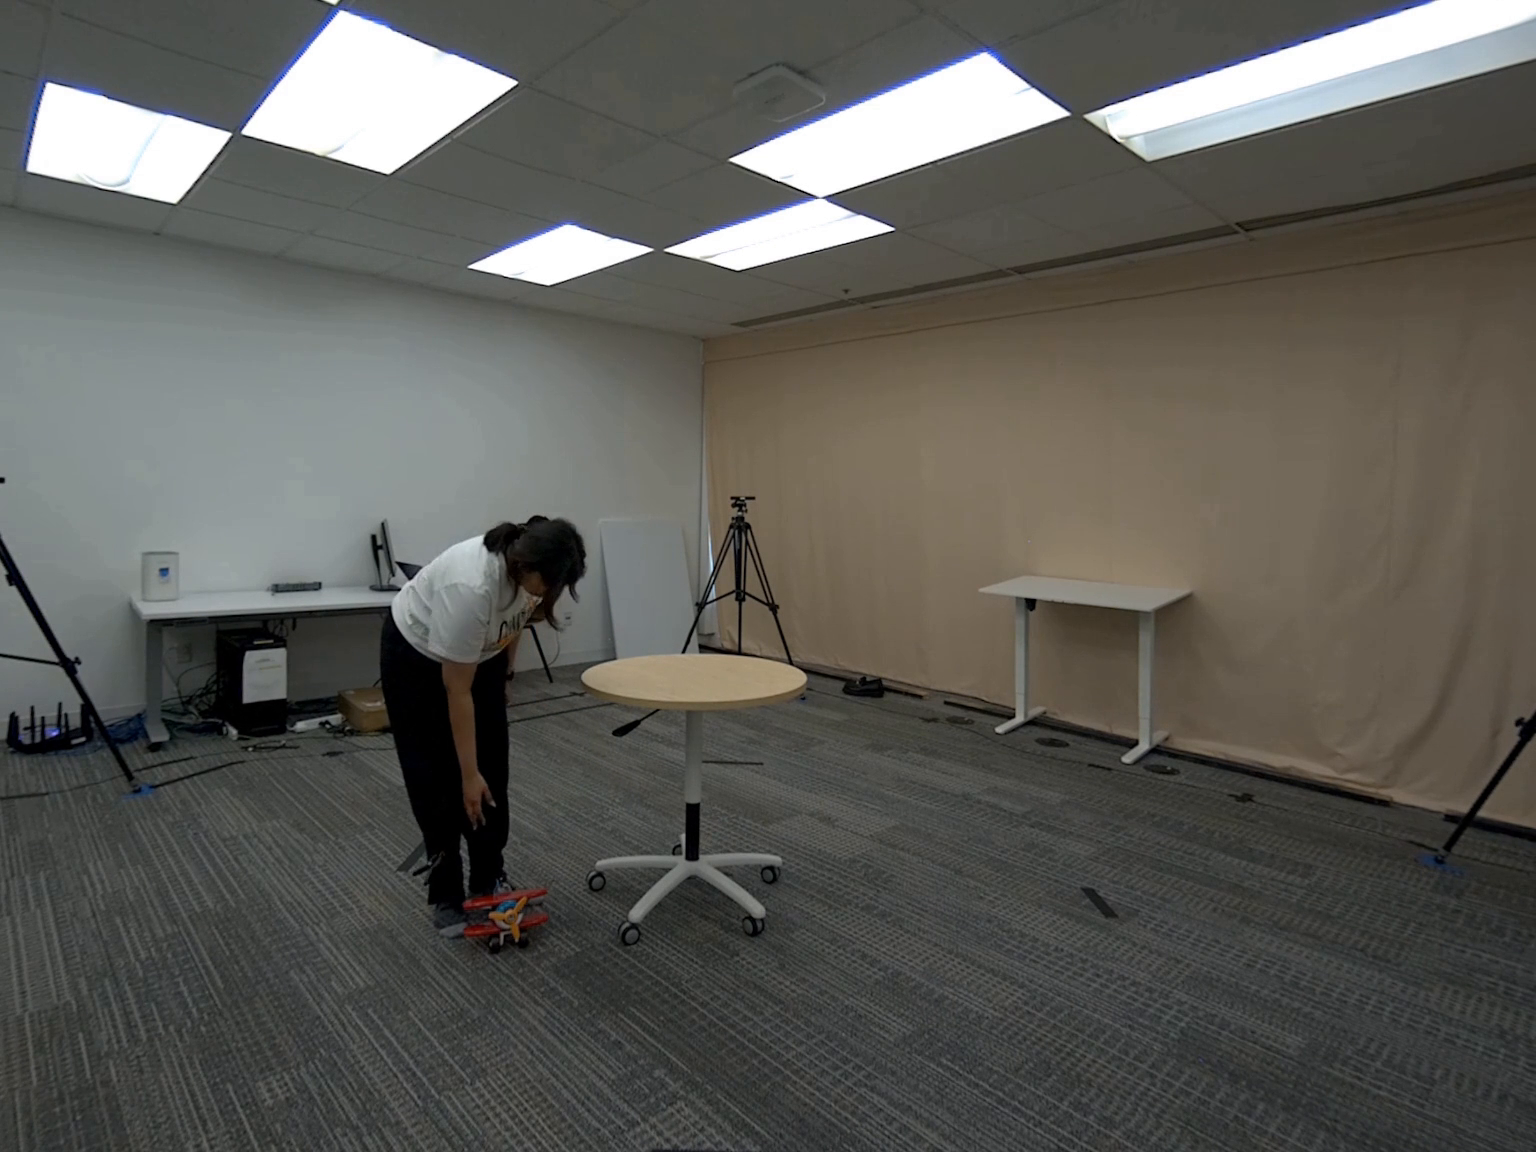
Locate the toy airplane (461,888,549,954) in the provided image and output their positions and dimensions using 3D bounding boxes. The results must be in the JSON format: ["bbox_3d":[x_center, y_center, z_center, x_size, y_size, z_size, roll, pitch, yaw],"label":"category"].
[{"bbox_3d":[-0.855,1.062,2.626,0.266,0.155,0.246,8,10,37],"label":"toy airplane"}]
